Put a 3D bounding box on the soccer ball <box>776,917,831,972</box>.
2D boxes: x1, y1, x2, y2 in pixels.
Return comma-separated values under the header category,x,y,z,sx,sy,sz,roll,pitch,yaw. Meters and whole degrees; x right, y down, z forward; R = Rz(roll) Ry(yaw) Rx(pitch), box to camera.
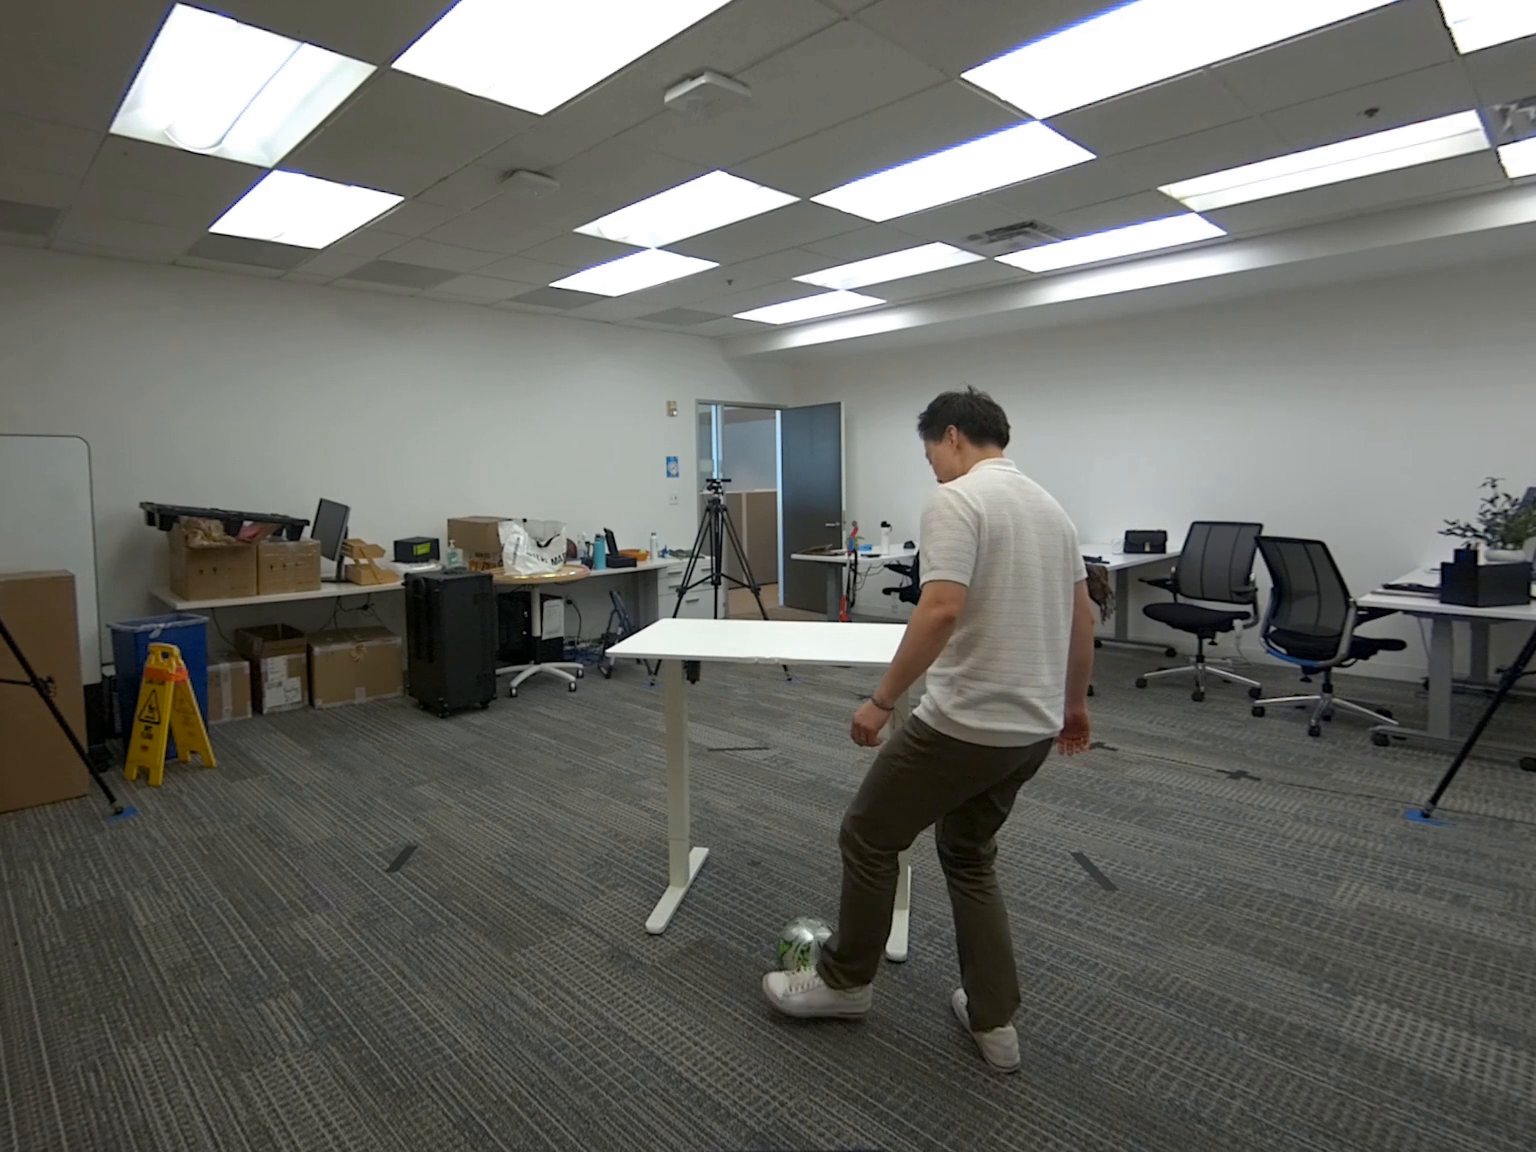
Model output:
category,x,y,z,sx,sy,sz,roll,pitch,yaw
soccer ball,0.118,1.038,2.340,0.187,0.187,0.188,-1,5,-2
